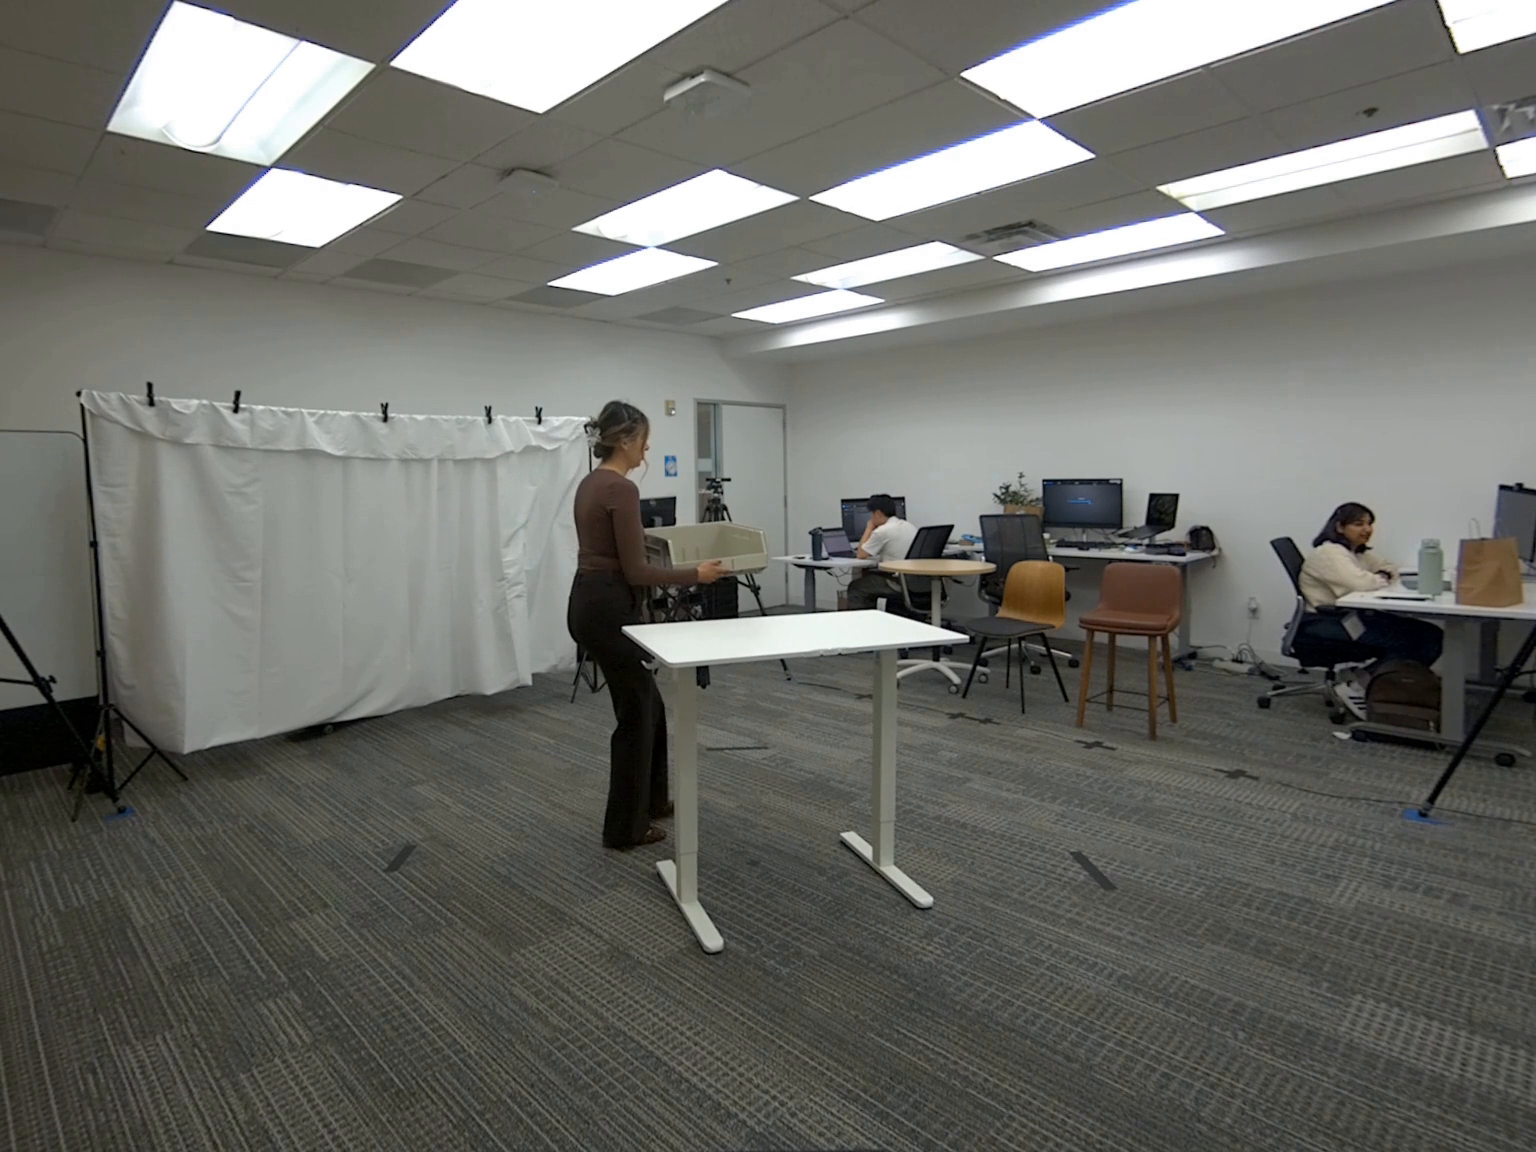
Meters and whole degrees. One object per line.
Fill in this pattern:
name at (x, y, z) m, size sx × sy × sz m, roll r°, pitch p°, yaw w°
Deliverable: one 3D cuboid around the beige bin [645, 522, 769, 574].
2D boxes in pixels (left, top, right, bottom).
beige bin at (-0.268, -0.092, 3.431) m, size 0.413 × 0.187 × 0.388 m, roll -8°, pitch 11°, yaw -28°
